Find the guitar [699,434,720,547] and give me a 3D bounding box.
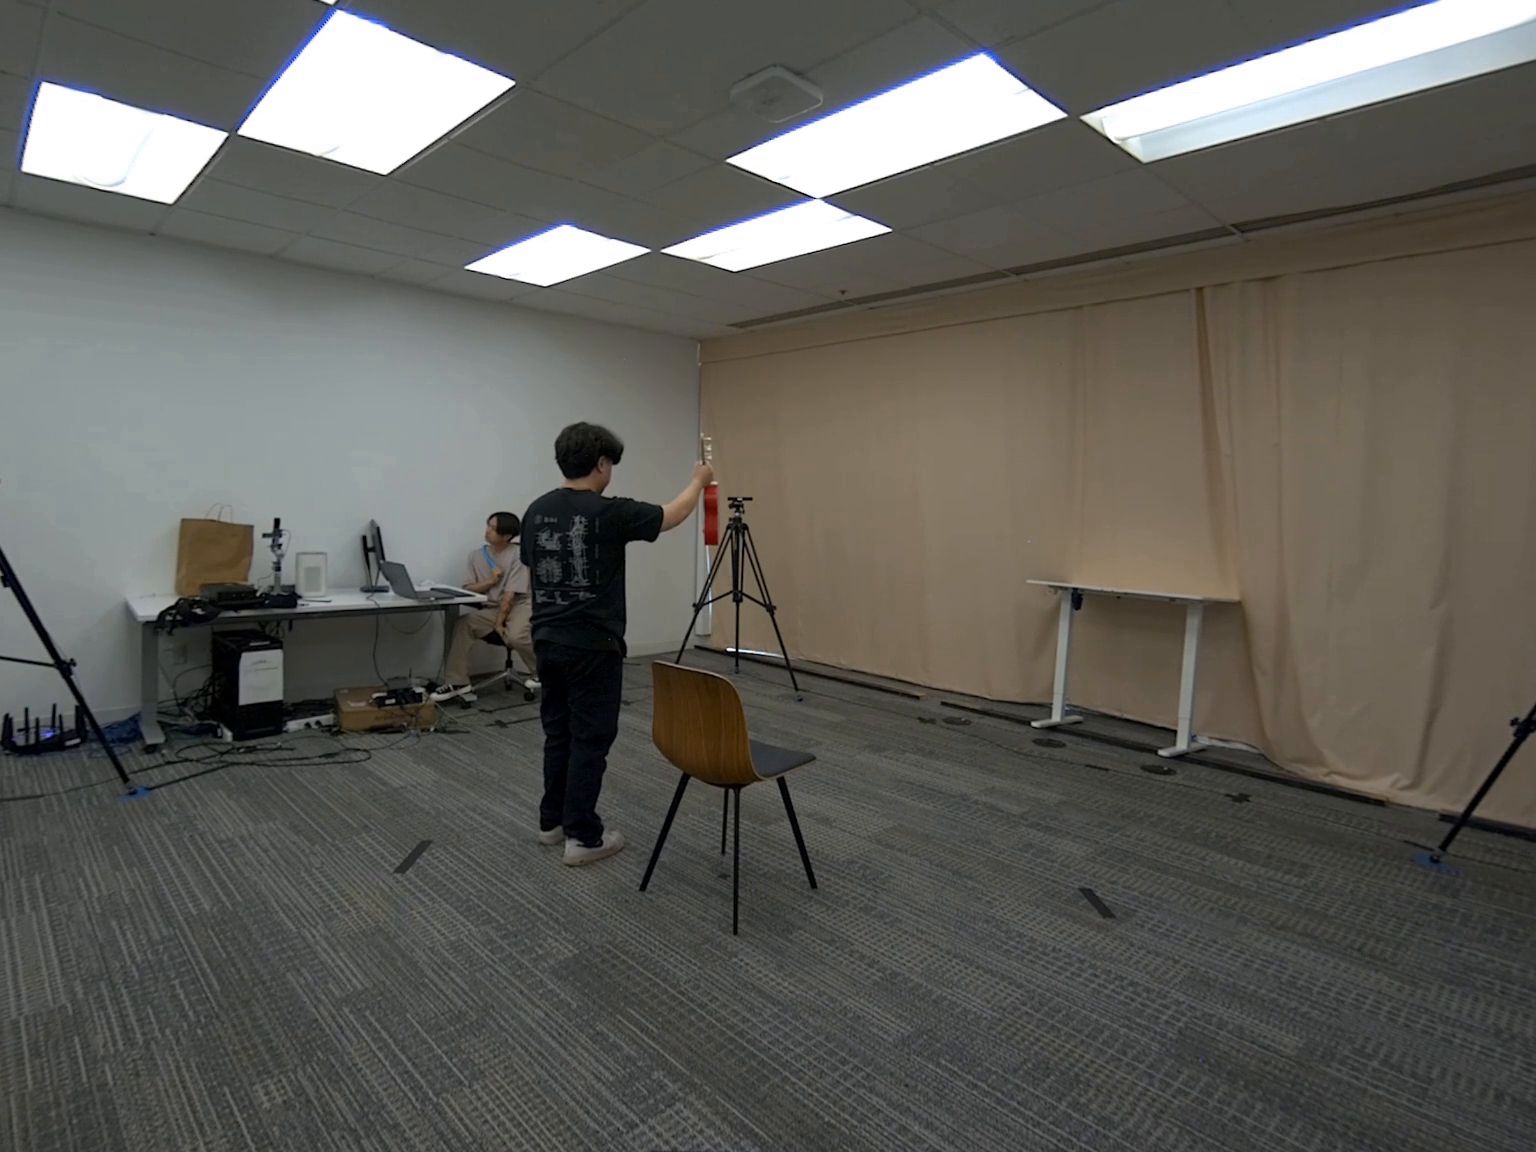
[{"bbox_3d":[-0.262,-0.352,3.570,0.071,0.487,0.196,2,35,3],"label":"guitar"}]
